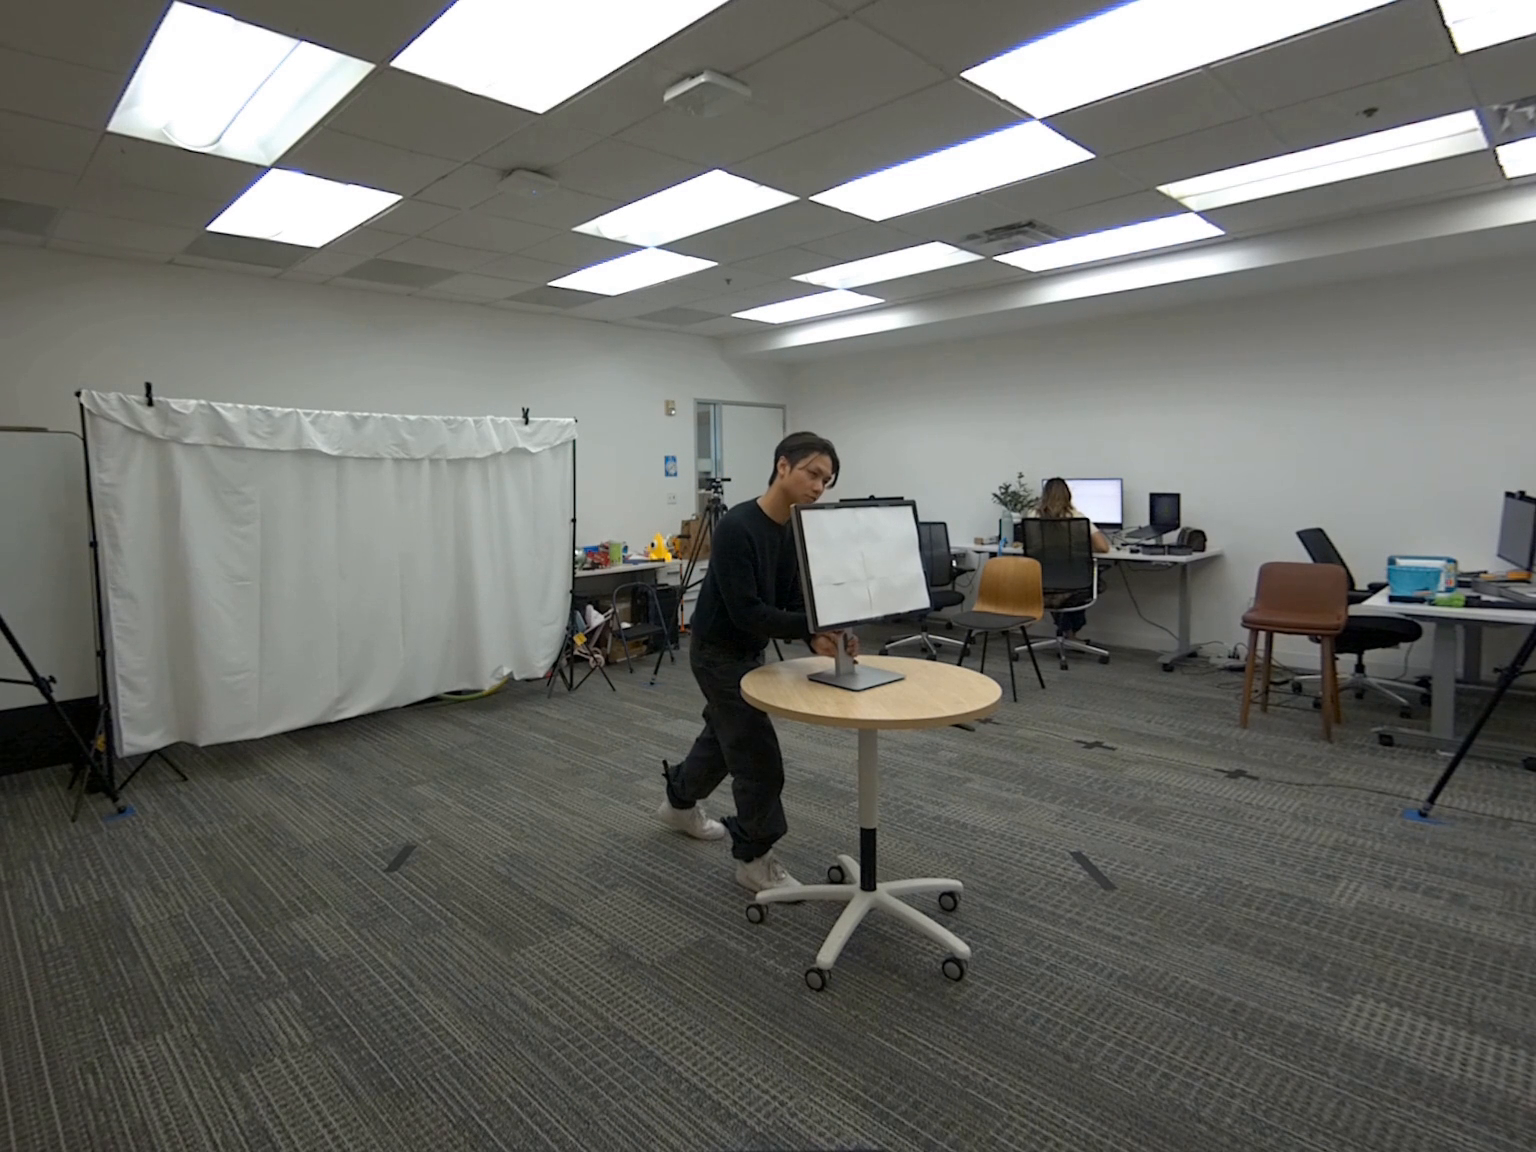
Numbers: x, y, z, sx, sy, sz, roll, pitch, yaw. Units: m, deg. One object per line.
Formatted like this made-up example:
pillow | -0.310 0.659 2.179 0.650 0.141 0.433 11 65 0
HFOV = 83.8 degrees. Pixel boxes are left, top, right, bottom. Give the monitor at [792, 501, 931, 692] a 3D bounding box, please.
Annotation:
monitor | 0.271 0.048 2.587 0.515 0.513 0.180 -3 10 -44
